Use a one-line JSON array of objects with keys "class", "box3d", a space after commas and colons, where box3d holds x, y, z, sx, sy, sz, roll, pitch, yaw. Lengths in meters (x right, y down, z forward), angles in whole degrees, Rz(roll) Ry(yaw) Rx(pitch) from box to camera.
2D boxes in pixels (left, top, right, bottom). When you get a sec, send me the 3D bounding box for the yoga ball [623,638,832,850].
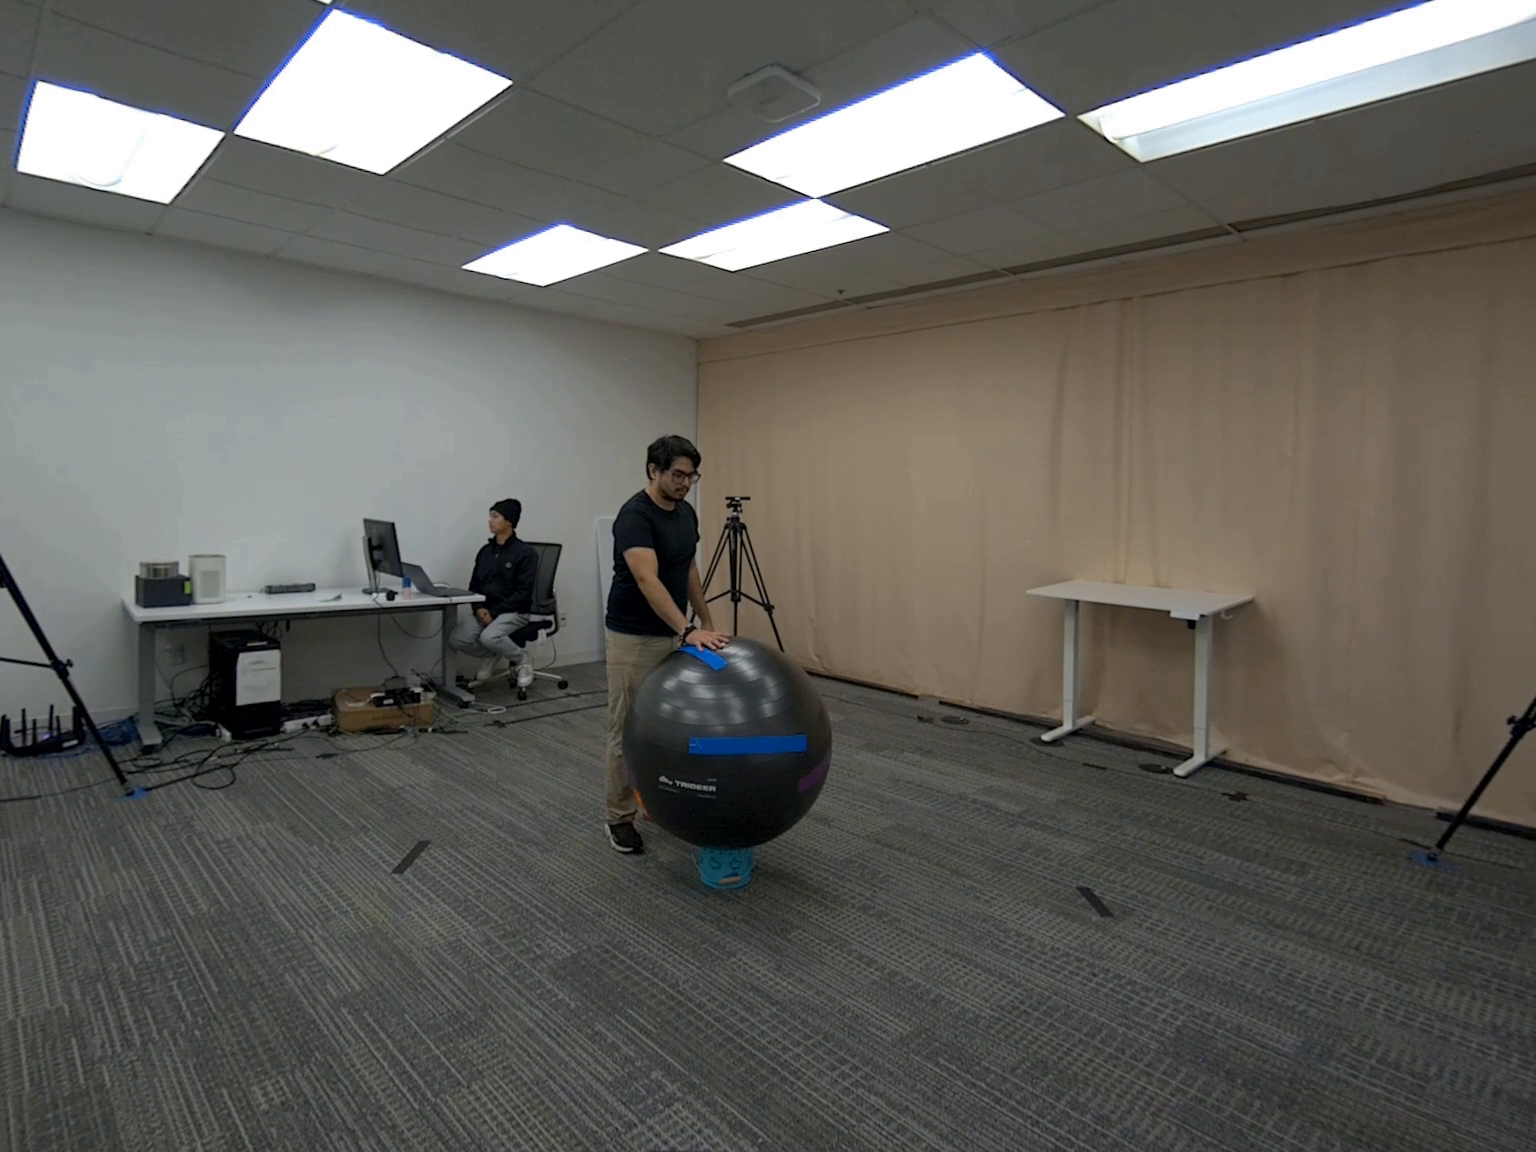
[{"class": "yoga ball", "box3d": [-0.153, 0.603, 3.055, 0.757, 0.756, 0.760, 1, 4, -1]}]
